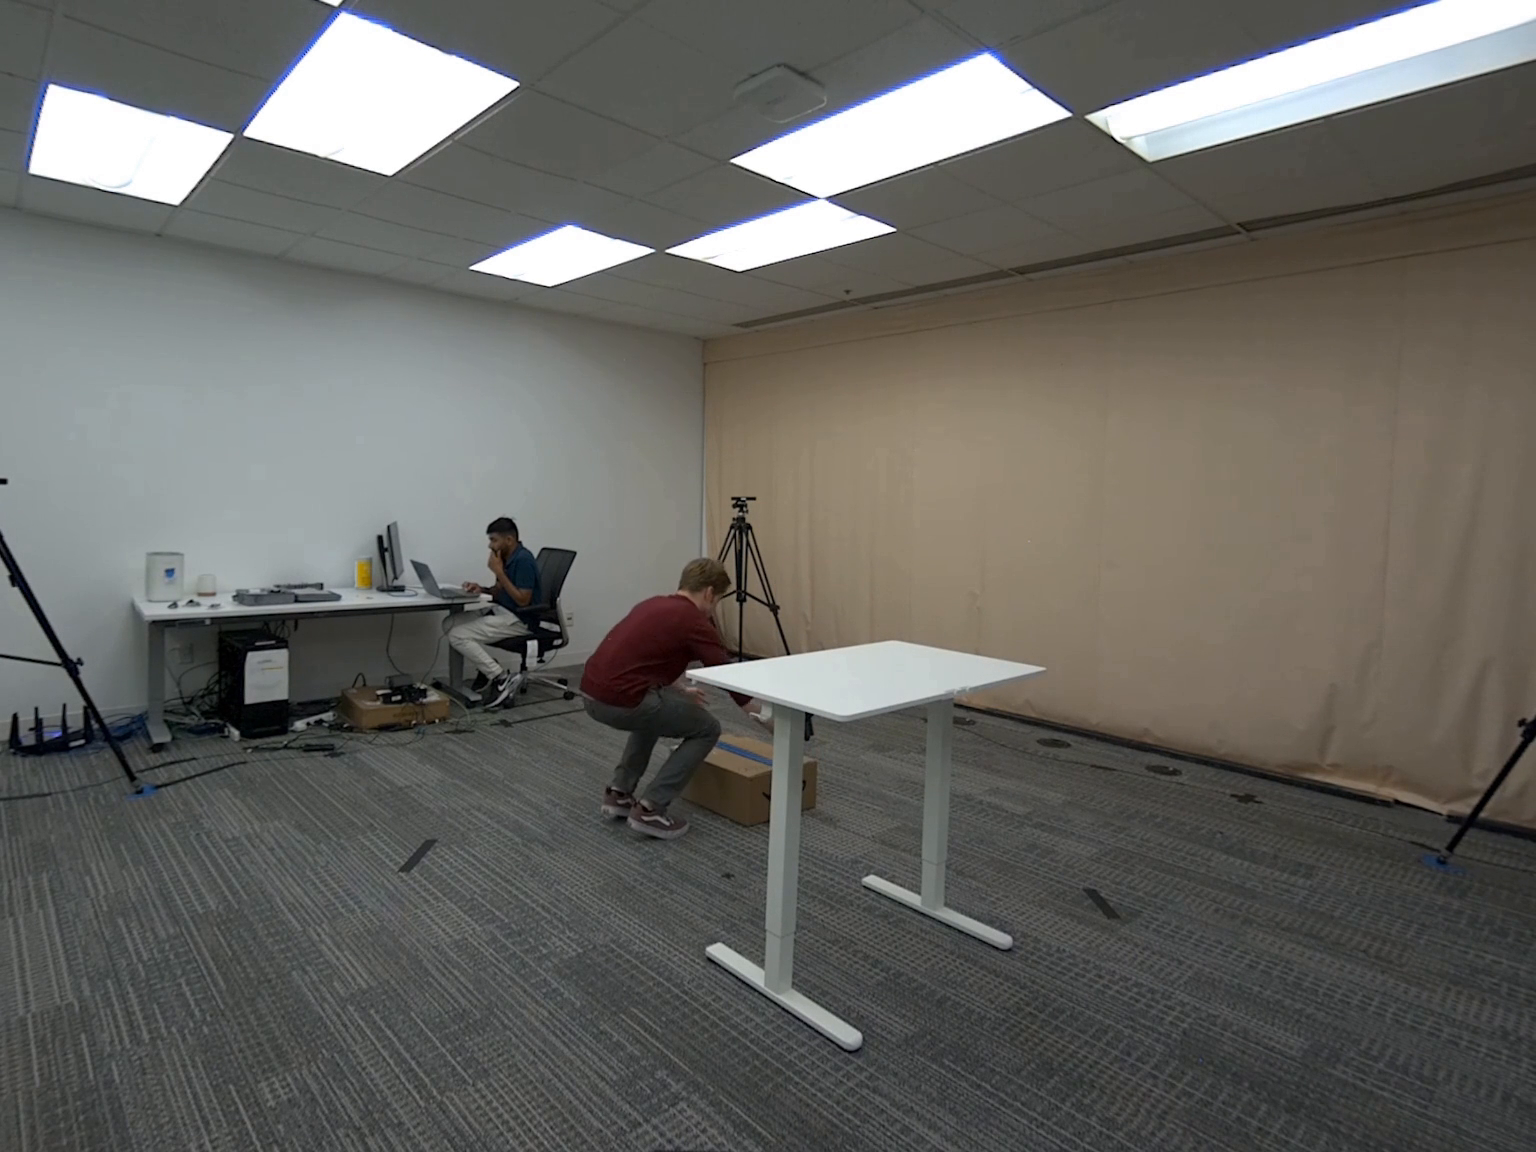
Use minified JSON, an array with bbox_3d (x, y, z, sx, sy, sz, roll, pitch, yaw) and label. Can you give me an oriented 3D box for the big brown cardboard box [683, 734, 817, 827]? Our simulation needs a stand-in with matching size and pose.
[{"bbox_3d":[-0.136,0.928,3.910,0.408,0.232,0.604,-2,6,-42],"label":"big brown cardboard box"}]
